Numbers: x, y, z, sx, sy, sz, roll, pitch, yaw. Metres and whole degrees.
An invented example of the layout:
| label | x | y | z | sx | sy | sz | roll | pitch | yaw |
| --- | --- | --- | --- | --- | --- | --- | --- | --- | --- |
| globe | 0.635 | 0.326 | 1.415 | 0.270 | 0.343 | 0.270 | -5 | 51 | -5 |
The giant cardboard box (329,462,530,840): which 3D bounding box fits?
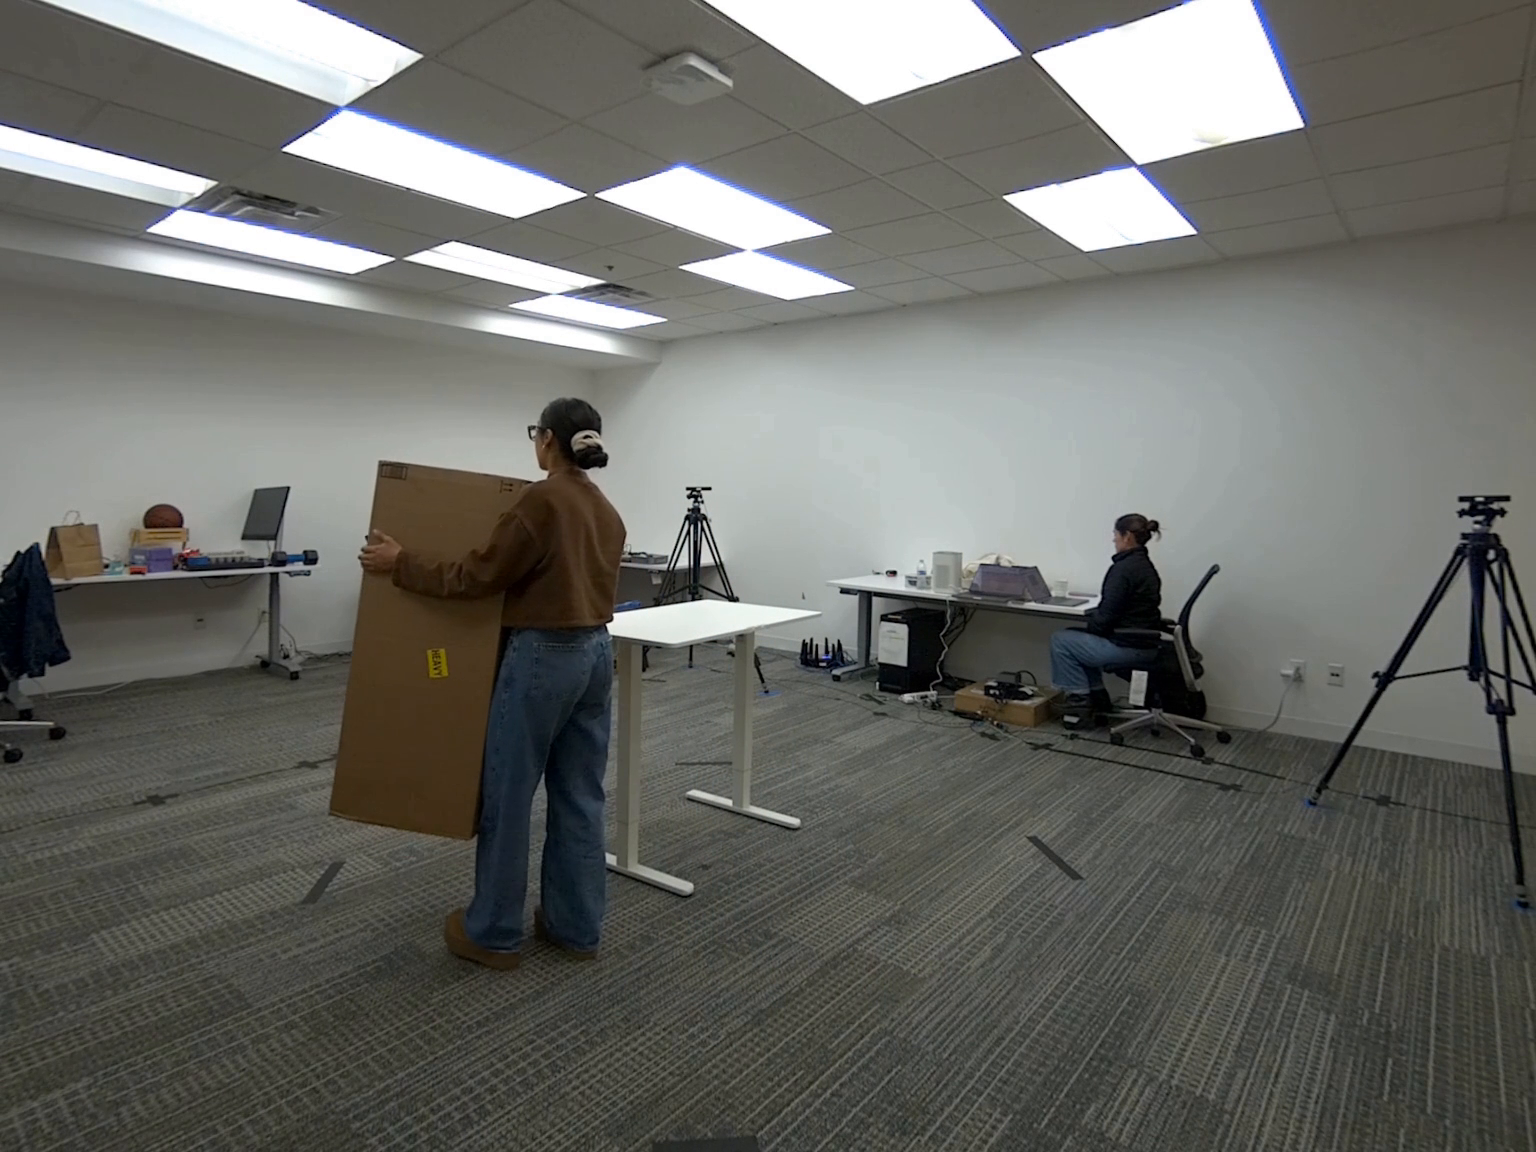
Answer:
| label | x | y | z | sx | sy | sz | roll | pitch | yaw |
| --- | --- | --- | --- | --- | --- | --- | --- | --- | --- |
| giant cardboard box | -0.979 | 0.195 | 2.675 | 0.428 | 1.025 | 0.575 | 8 | 1 | 2 |
